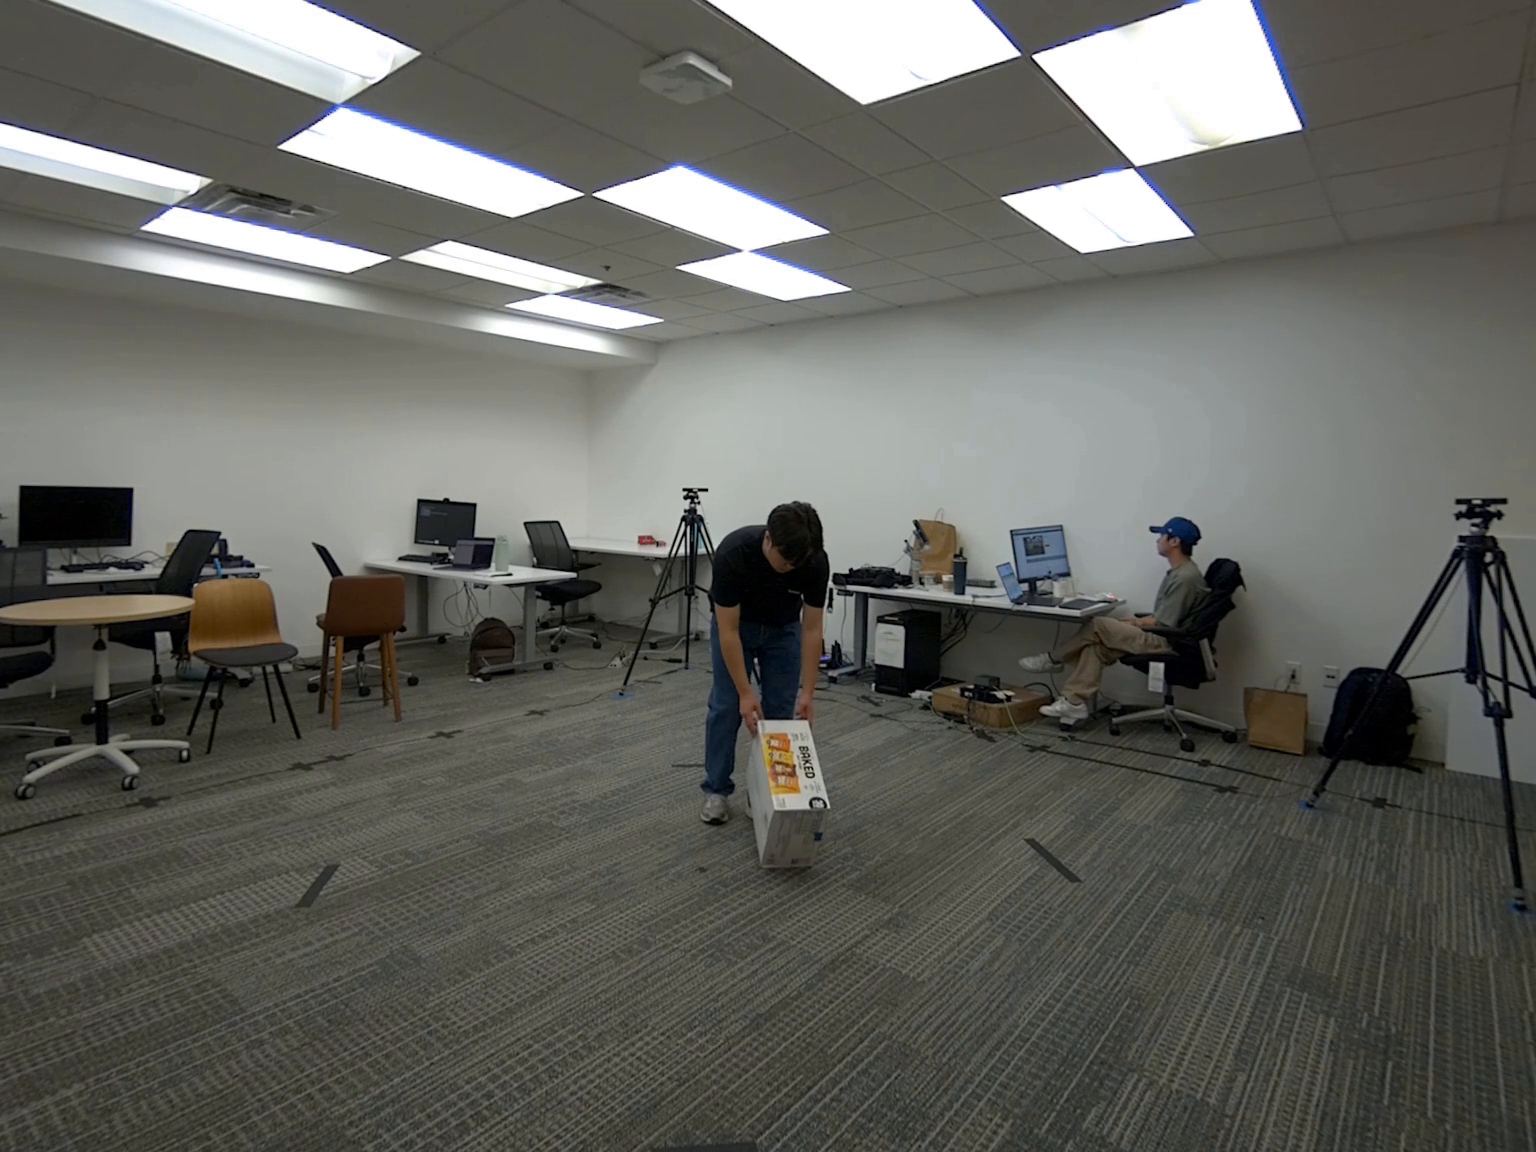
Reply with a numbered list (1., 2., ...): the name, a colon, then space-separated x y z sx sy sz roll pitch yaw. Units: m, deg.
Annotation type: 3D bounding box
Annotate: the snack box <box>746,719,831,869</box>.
1. snack box: 0.056 0.811 3.209 0.203 0.333 0.419 1 37 -11
